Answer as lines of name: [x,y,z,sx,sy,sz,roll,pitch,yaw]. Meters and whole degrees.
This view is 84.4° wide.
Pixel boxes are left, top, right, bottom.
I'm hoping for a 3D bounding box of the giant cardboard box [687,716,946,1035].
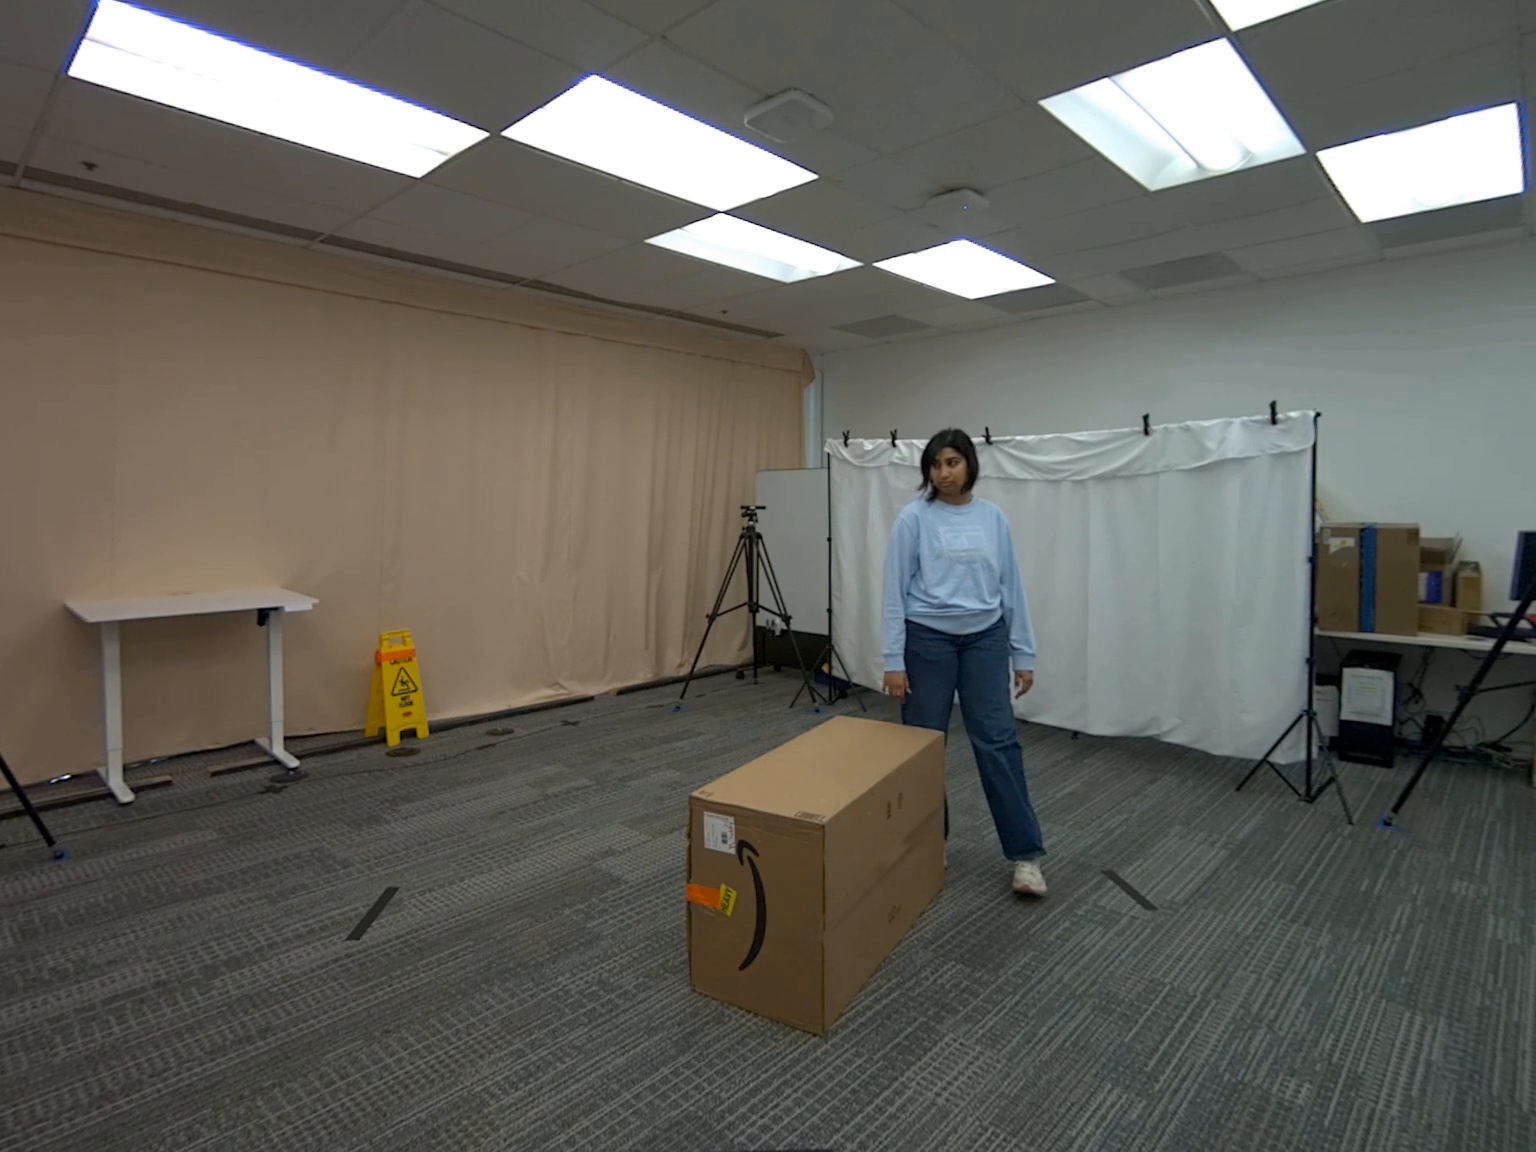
giant cardboard box: [0.201,0.878,2.724,0.460,0.582,0.999,3,5,30]
